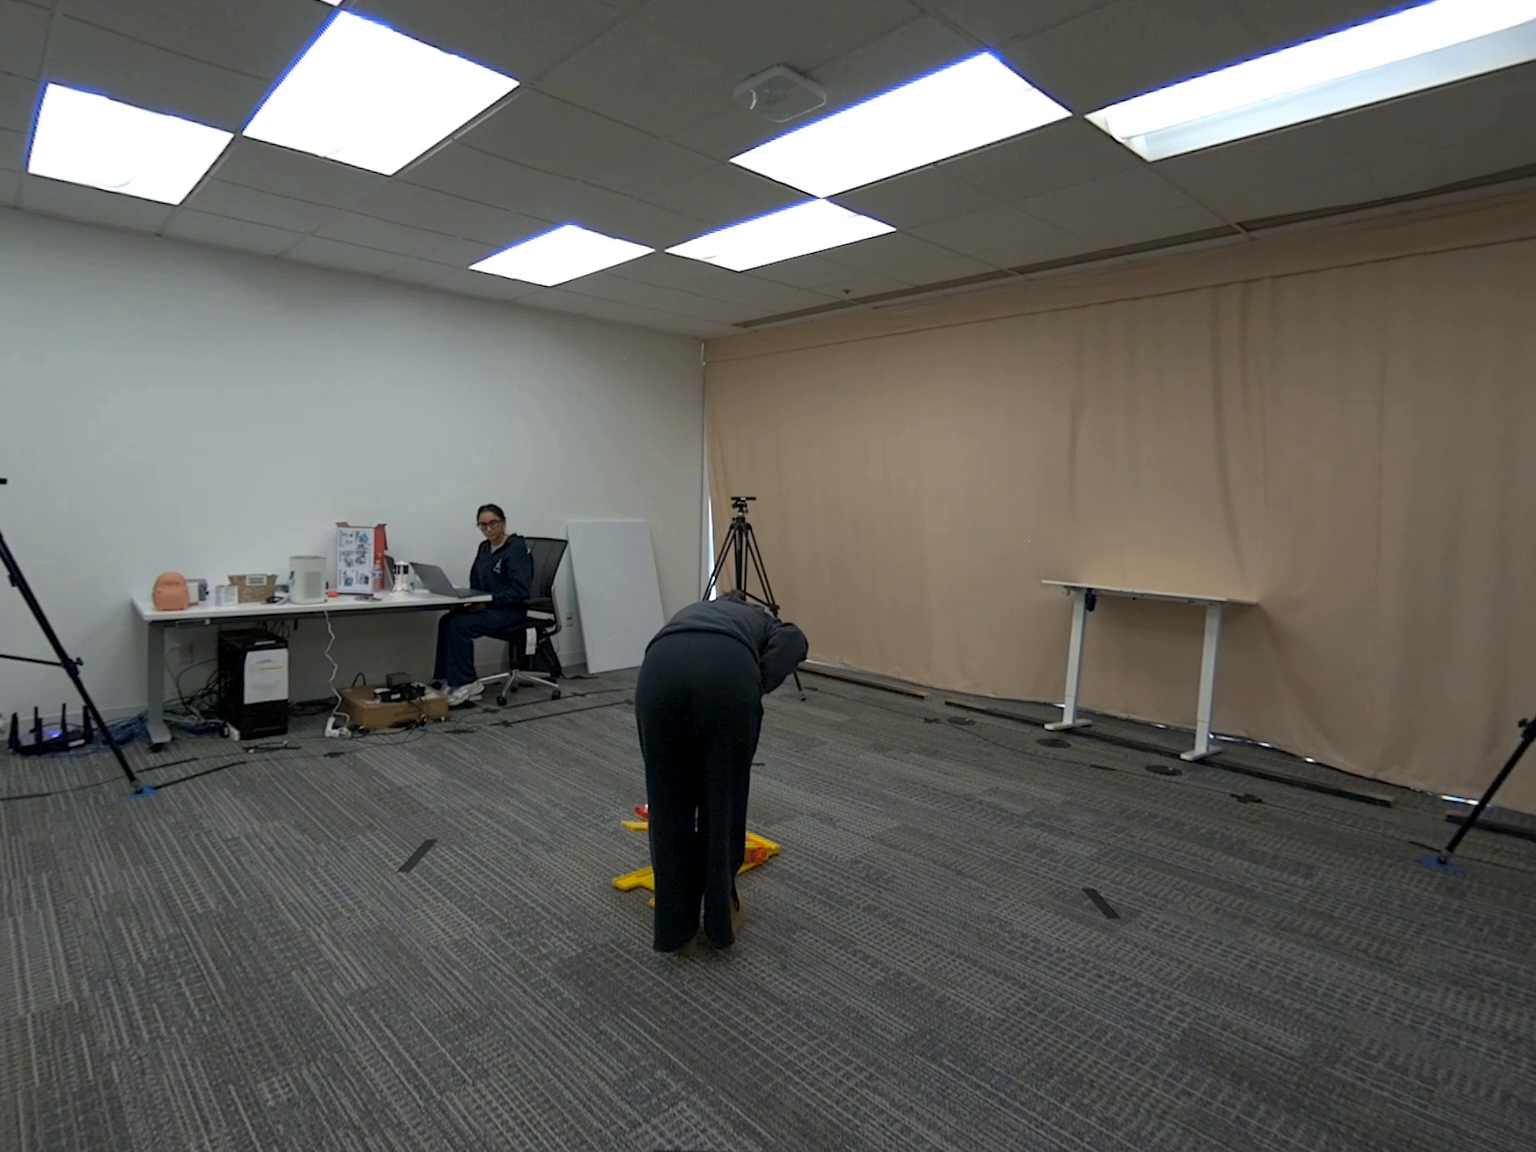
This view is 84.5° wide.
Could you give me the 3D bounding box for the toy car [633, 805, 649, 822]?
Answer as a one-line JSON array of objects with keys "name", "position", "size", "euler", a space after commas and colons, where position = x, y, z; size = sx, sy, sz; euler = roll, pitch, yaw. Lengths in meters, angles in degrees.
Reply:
[{"name": "toy car", "position": [-0.376, 0.862, 2.984], "size": [0.134, 0.083, 0.246], "euler": [10, -18, 46]}]
